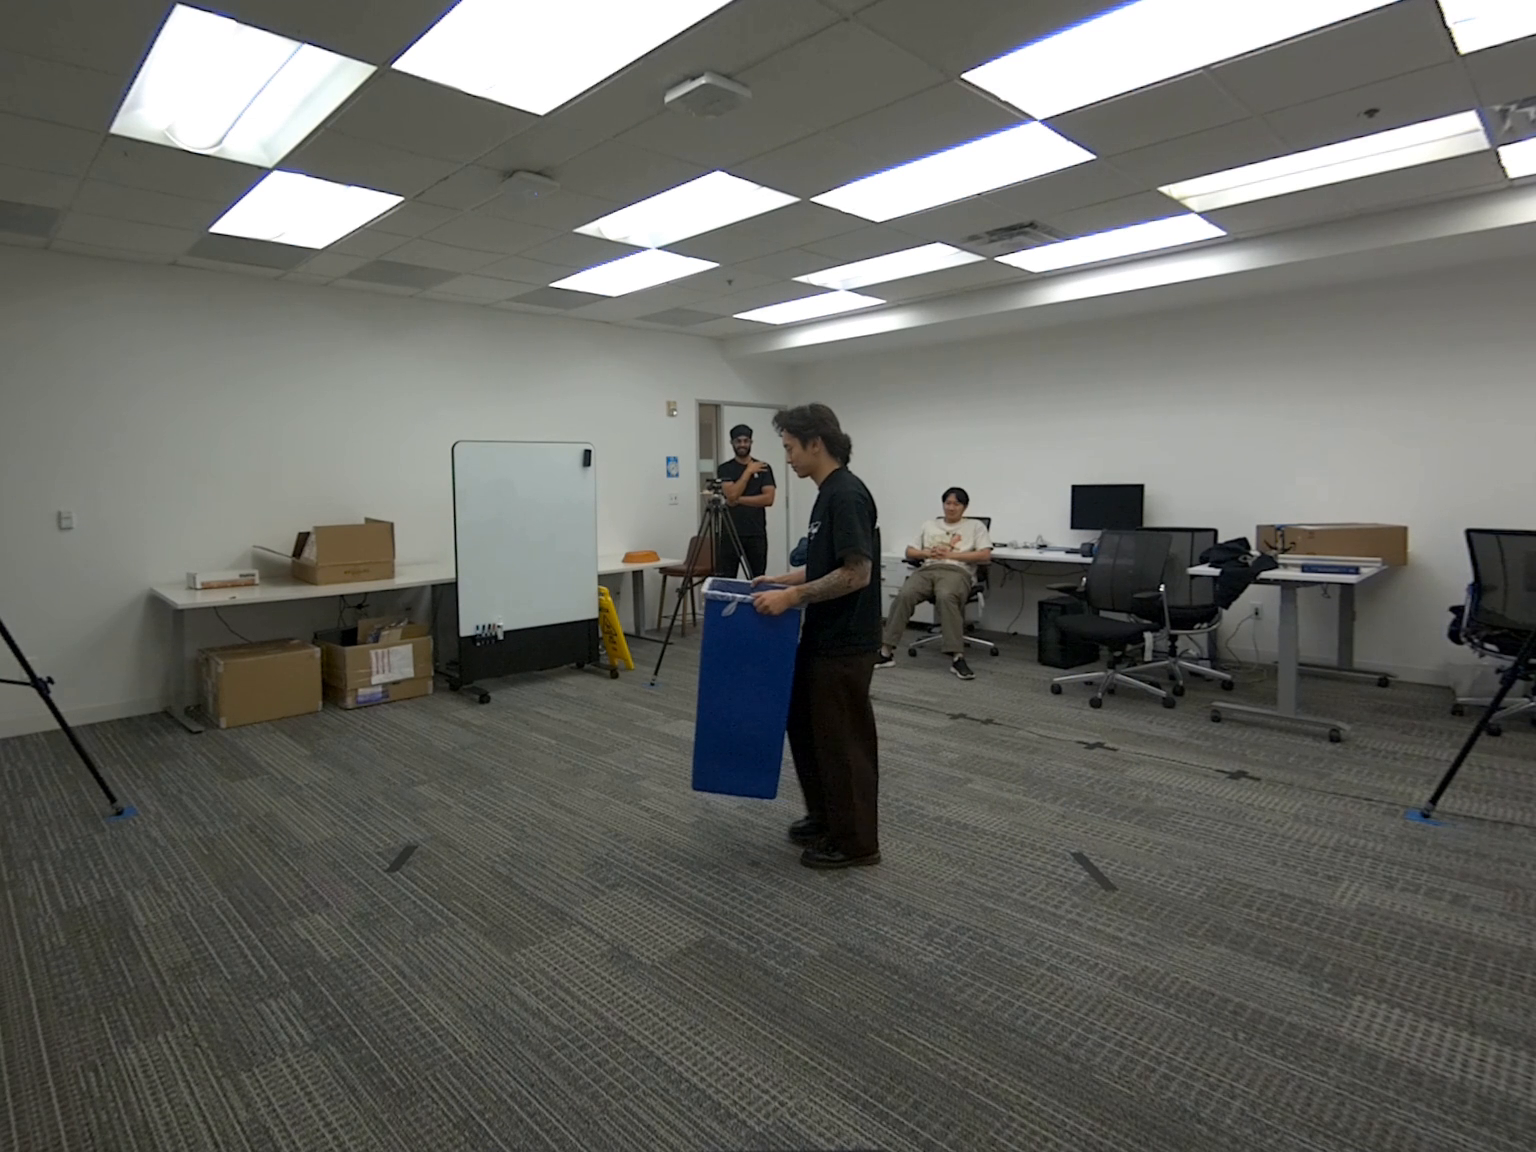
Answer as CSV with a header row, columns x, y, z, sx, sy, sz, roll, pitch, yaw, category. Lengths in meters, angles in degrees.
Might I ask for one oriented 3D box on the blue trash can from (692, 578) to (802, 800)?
x,y,z,sx,sy,sz,roll,pitch,yaw,category
-0.087,0.403,3.121,0.379,0.710,0.375,6,6,0,blue trash can
